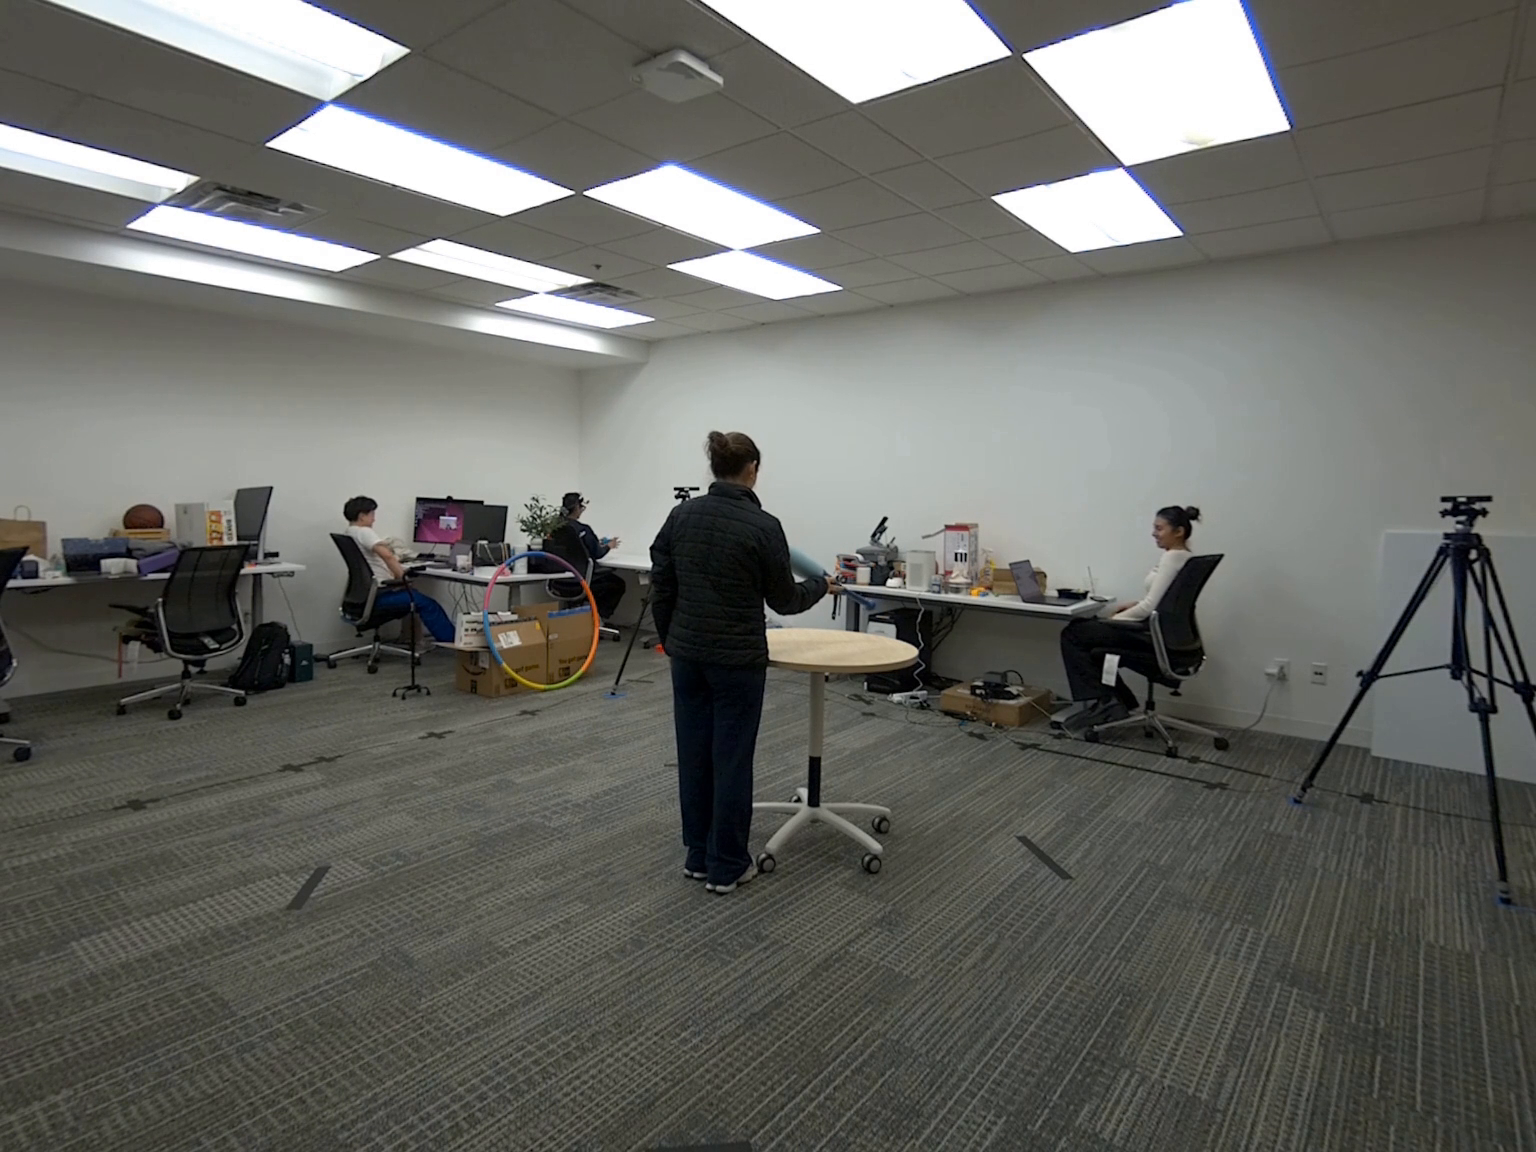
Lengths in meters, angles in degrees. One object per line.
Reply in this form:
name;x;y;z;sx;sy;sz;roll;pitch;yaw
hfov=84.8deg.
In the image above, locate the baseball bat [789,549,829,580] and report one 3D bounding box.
baseball bat;0.229;0.005;3.301;0.527;0.089;0.091;31;-9;-23
